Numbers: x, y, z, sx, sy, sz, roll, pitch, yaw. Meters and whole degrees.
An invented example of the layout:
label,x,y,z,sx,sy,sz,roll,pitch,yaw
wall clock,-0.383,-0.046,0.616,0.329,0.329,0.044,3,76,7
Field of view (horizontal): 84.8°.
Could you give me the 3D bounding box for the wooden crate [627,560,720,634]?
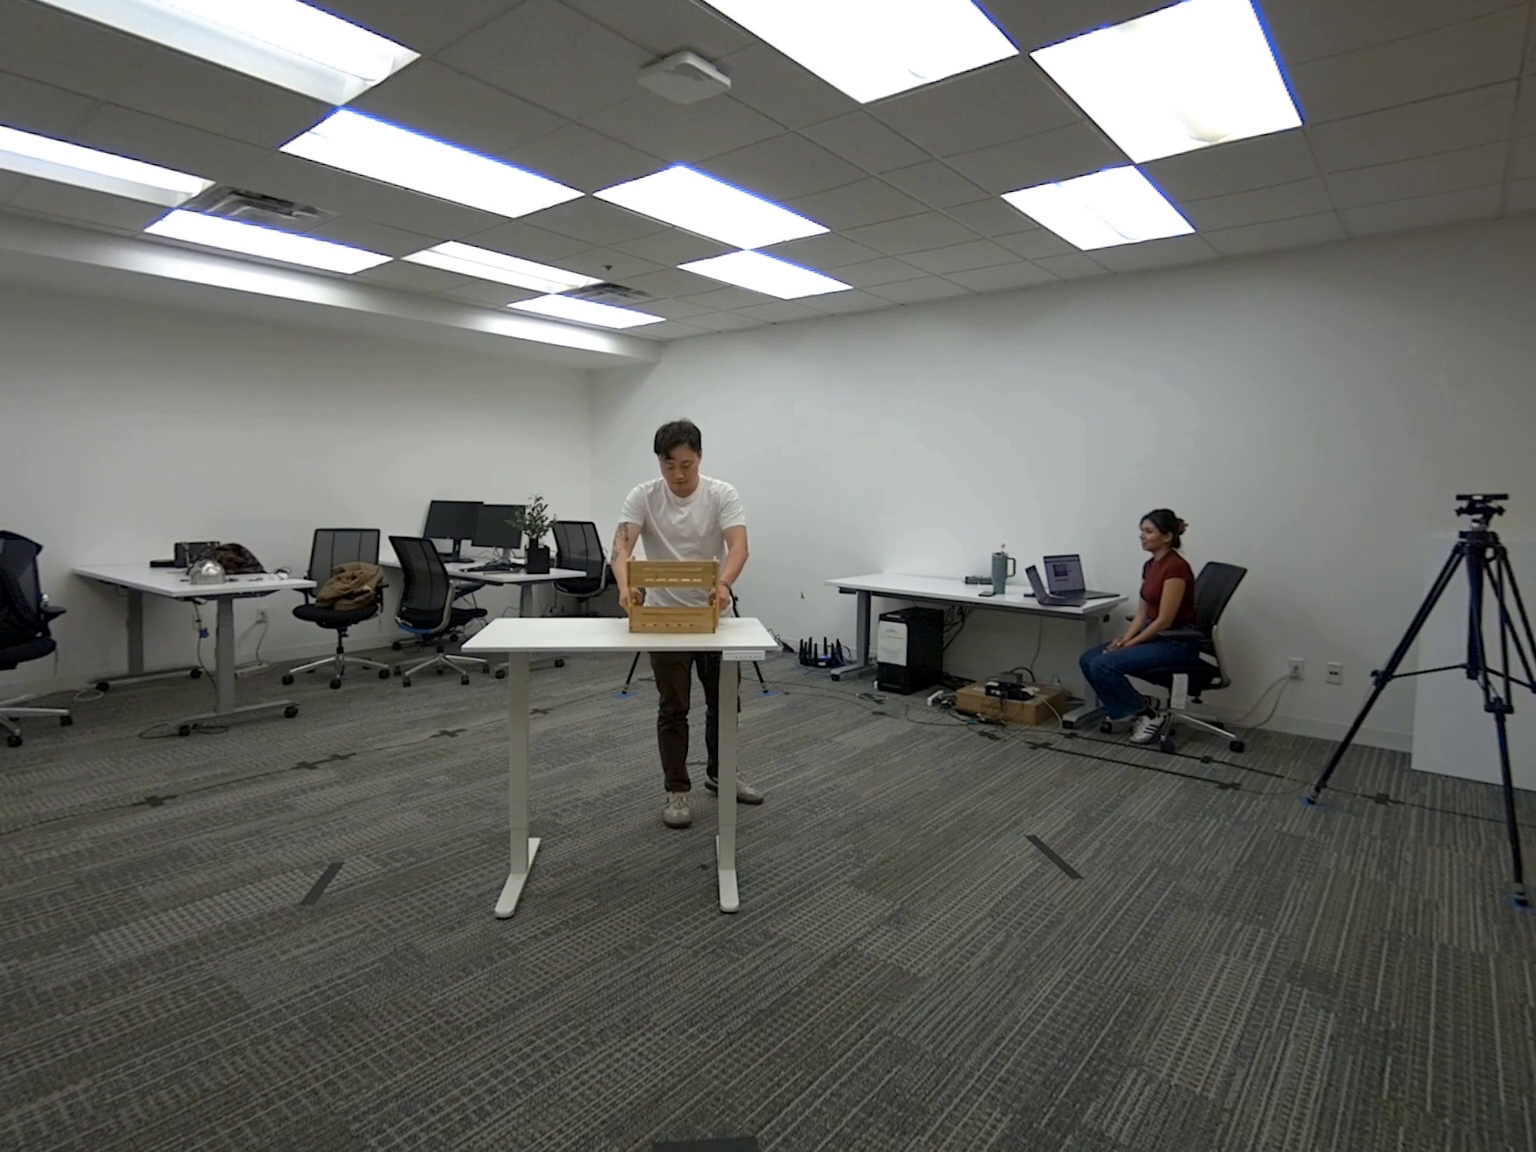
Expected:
label,x,y,z,sx,sy,sz,roll,pitch,yaw
wooden crate,-0.350,0.052,3.041,0.324,0.272,0.304,0,6,-1
